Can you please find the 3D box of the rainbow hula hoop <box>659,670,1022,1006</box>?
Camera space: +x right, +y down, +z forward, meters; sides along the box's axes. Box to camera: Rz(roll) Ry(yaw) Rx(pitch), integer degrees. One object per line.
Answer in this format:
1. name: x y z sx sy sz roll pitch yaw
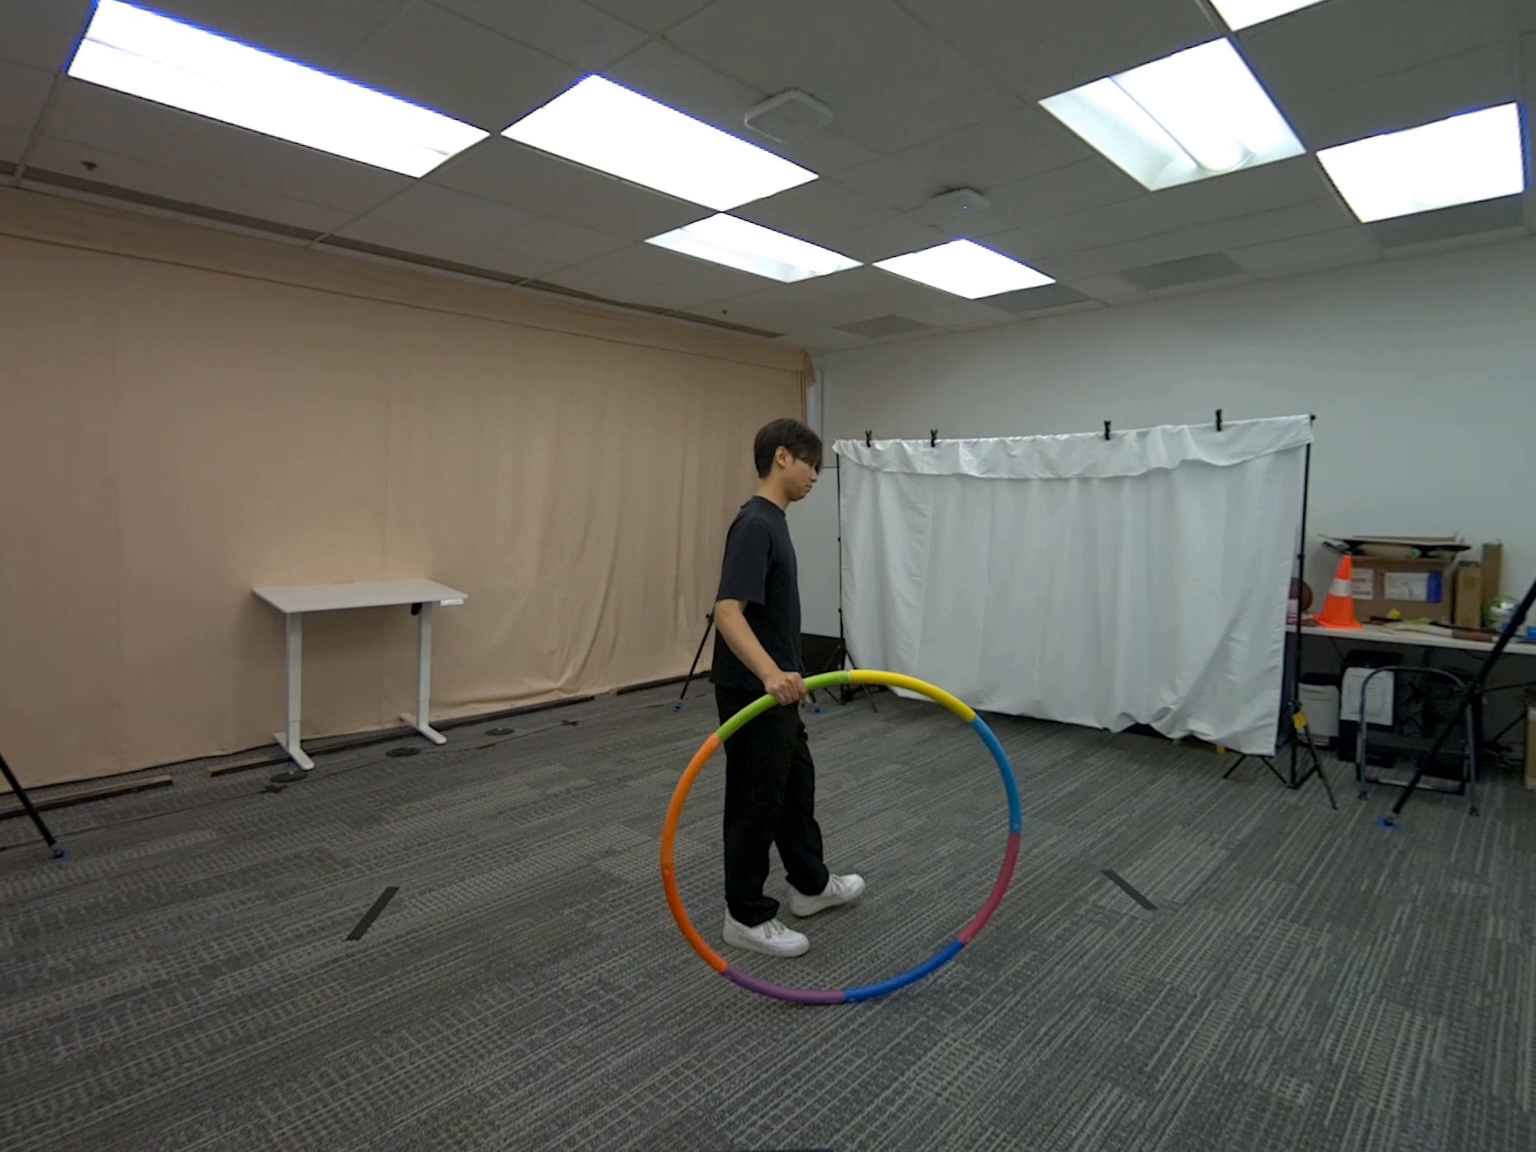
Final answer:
1. rainbow hula hoop: 0.220 0.725 2.268 0.971 0.971 0.036 0 13 -7
